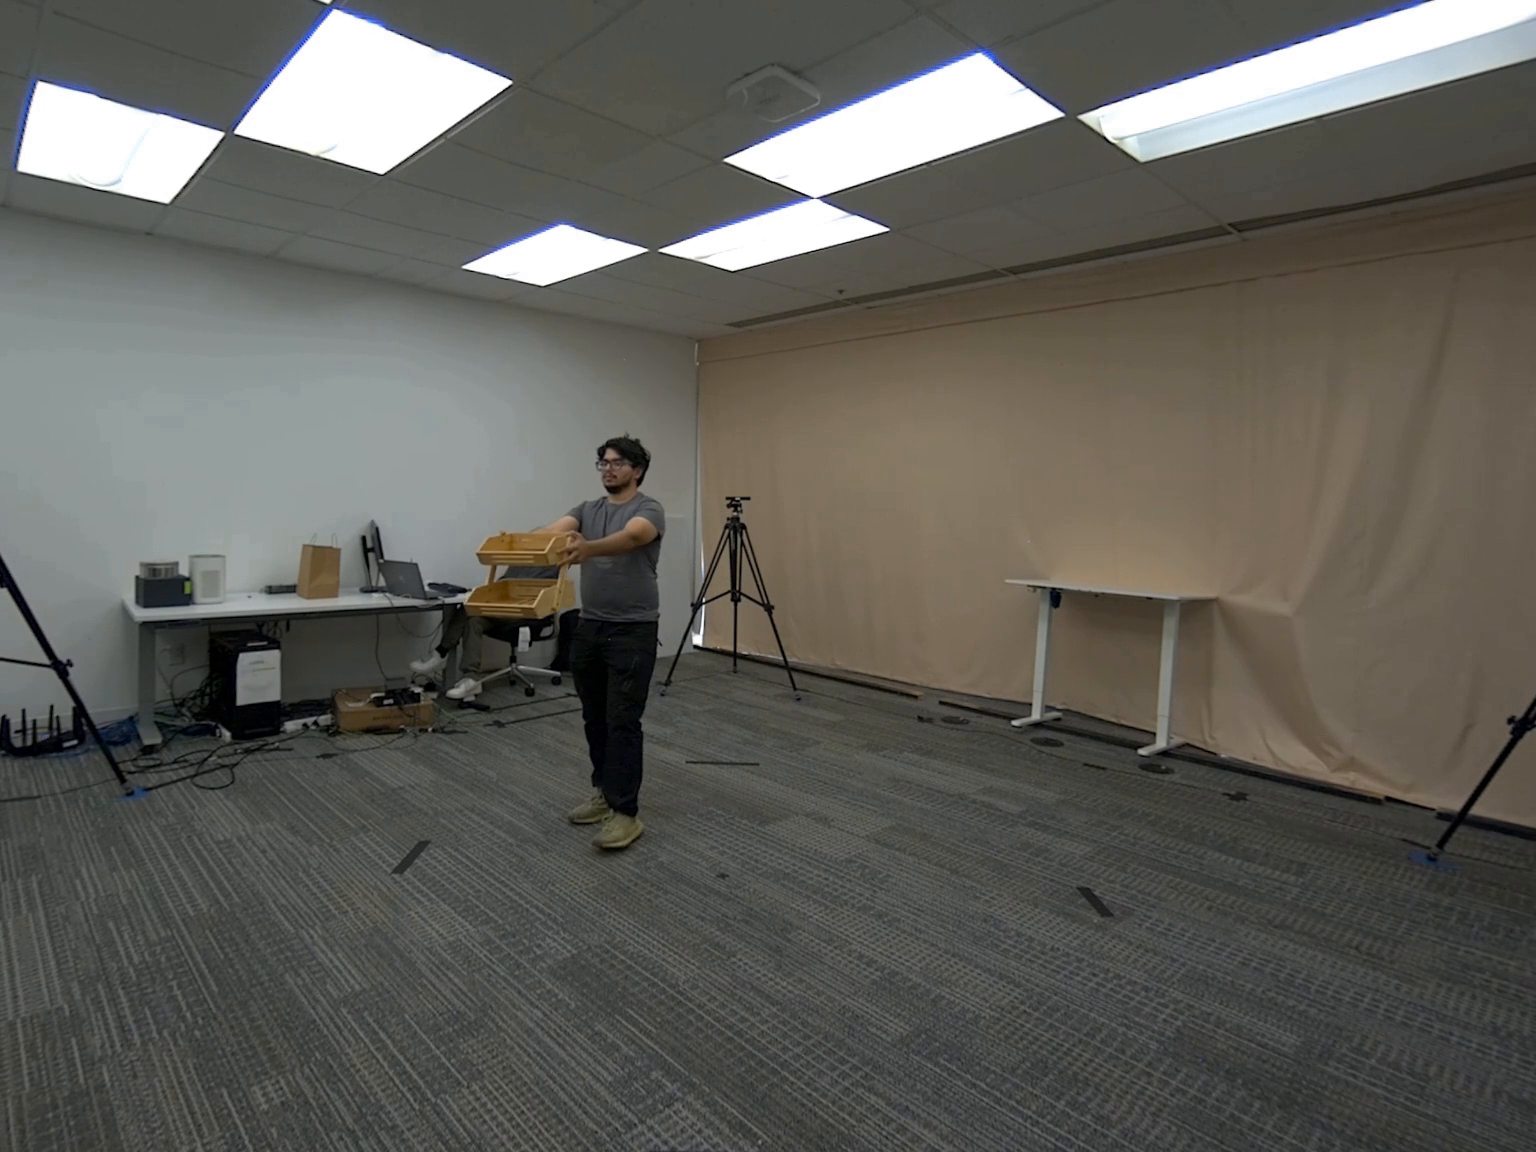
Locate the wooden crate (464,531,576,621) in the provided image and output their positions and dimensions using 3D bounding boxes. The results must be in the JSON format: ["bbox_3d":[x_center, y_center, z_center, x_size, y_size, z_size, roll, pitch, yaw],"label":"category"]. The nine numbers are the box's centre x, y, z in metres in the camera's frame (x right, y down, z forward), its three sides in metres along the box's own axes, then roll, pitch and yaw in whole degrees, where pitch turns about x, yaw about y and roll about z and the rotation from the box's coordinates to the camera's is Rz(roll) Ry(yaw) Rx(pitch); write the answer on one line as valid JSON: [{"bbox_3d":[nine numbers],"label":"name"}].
[{"bbox_3d":[-0.896,-0.009,3.024,0.330,0.271,0.299,1,9,21],"label":"wooden crate"}]
